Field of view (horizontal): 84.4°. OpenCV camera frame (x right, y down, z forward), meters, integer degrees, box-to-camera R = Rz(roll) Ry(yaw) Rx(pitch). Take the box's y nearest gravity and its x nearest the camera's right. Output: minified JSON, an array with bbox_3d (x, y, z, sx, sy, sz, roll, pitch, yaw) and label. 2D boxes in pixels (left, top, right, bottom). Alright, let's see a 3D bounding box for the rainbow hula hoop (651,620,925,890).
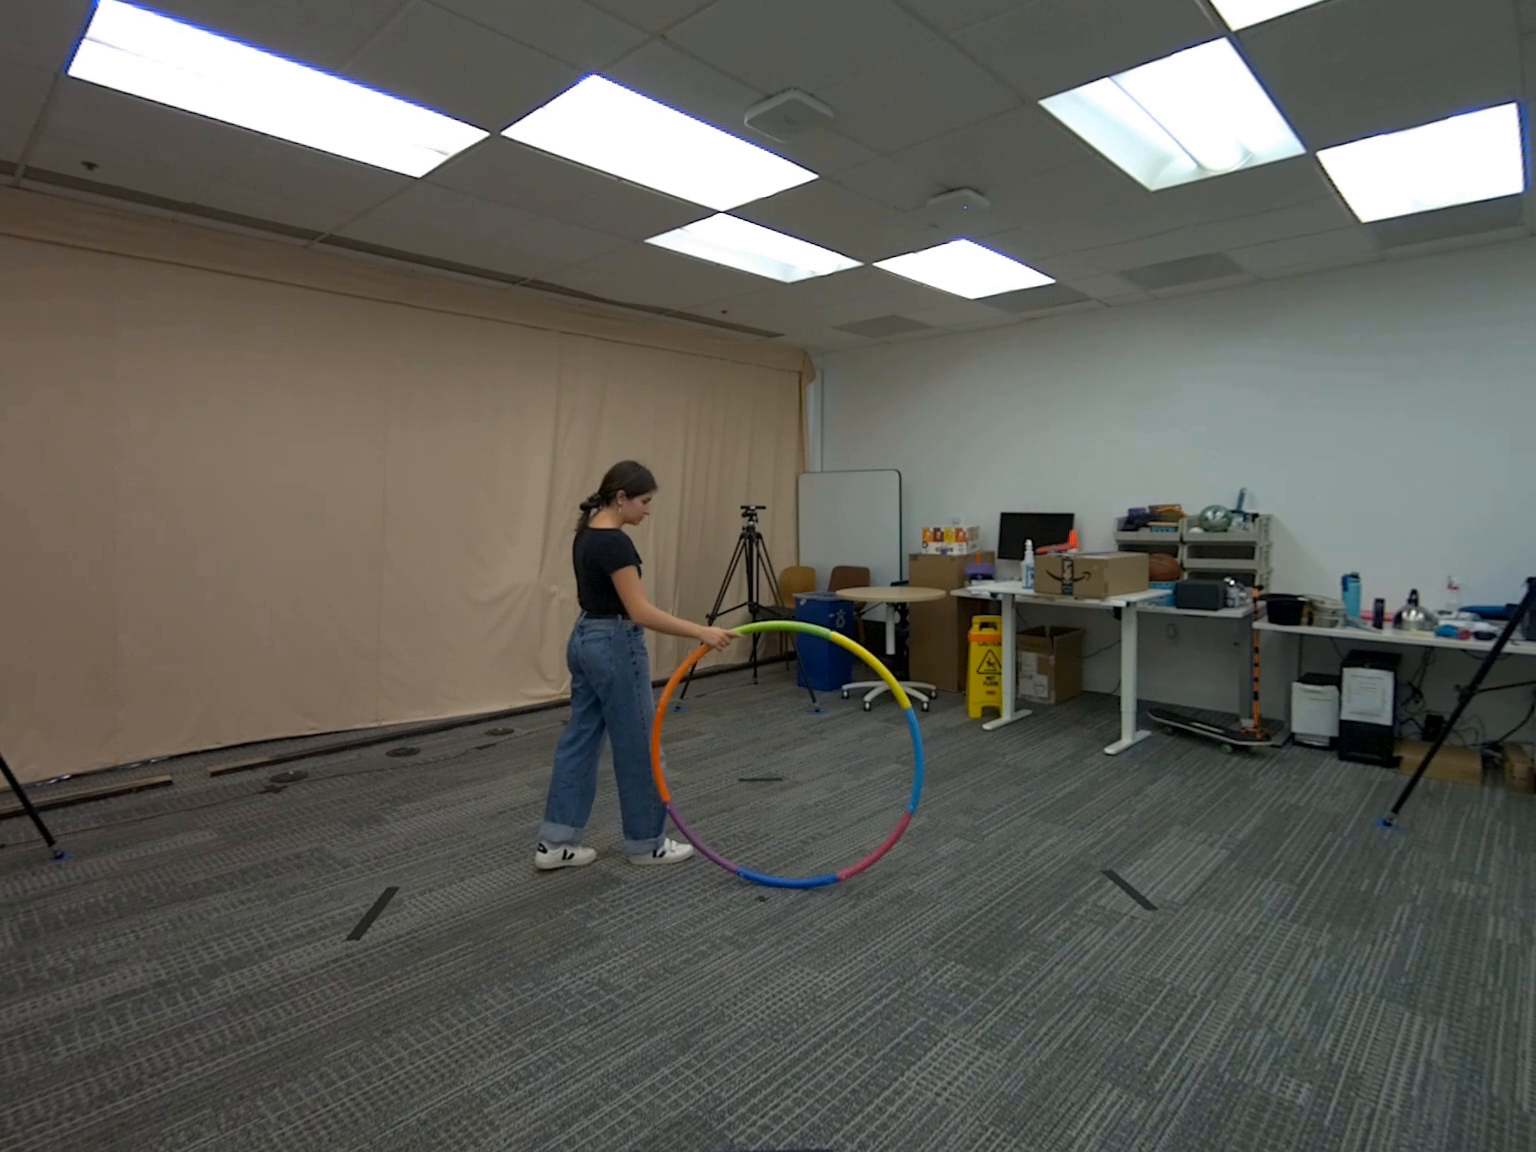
[{"bbox_3d":[0.070,0.653,3.052,0.991,0.976,0.035,1,3,11],"label":"rainbow hula hoop"}]
